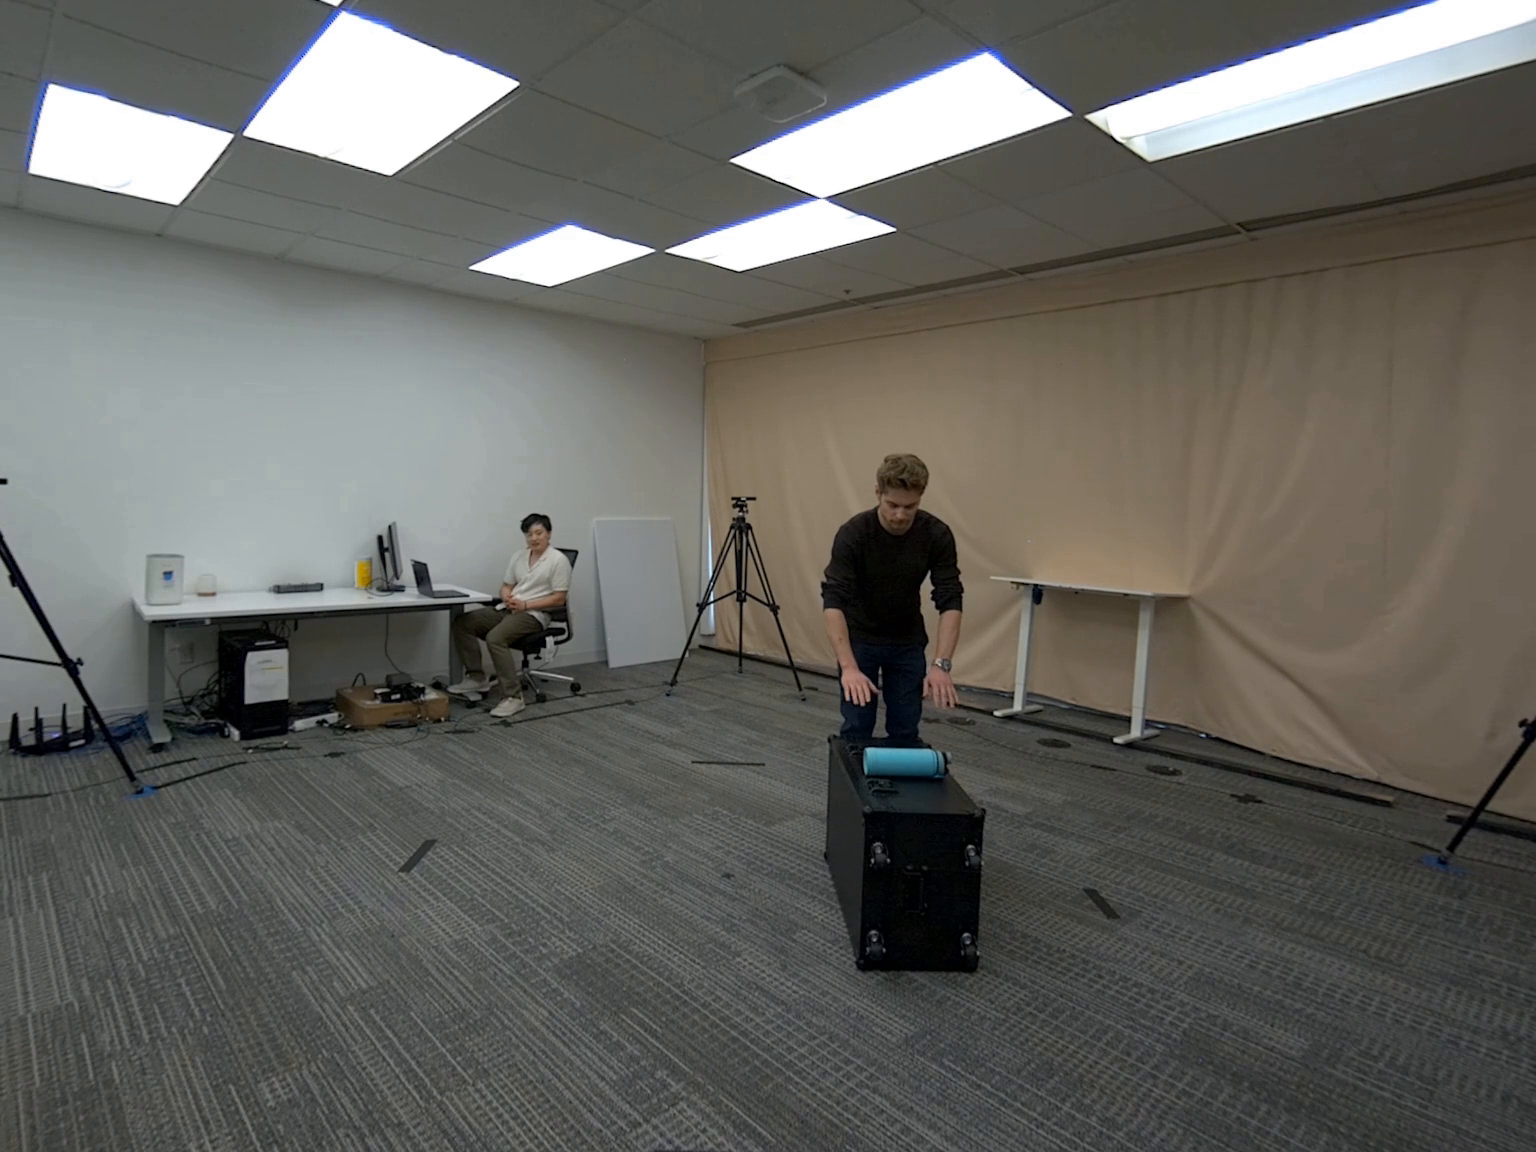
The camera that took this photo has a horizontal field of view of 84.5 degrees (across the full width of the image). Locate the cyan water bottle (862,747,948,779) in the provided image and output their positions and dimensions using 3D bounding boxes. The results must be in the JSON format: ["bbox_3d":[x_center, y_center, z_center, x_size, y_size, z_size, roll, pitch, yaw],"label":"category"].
[{"bbox_3d":[0.460,0.622,2.796,0.284,0.092,0.092,2,4,1],"label":"cyan water bottle"}]
